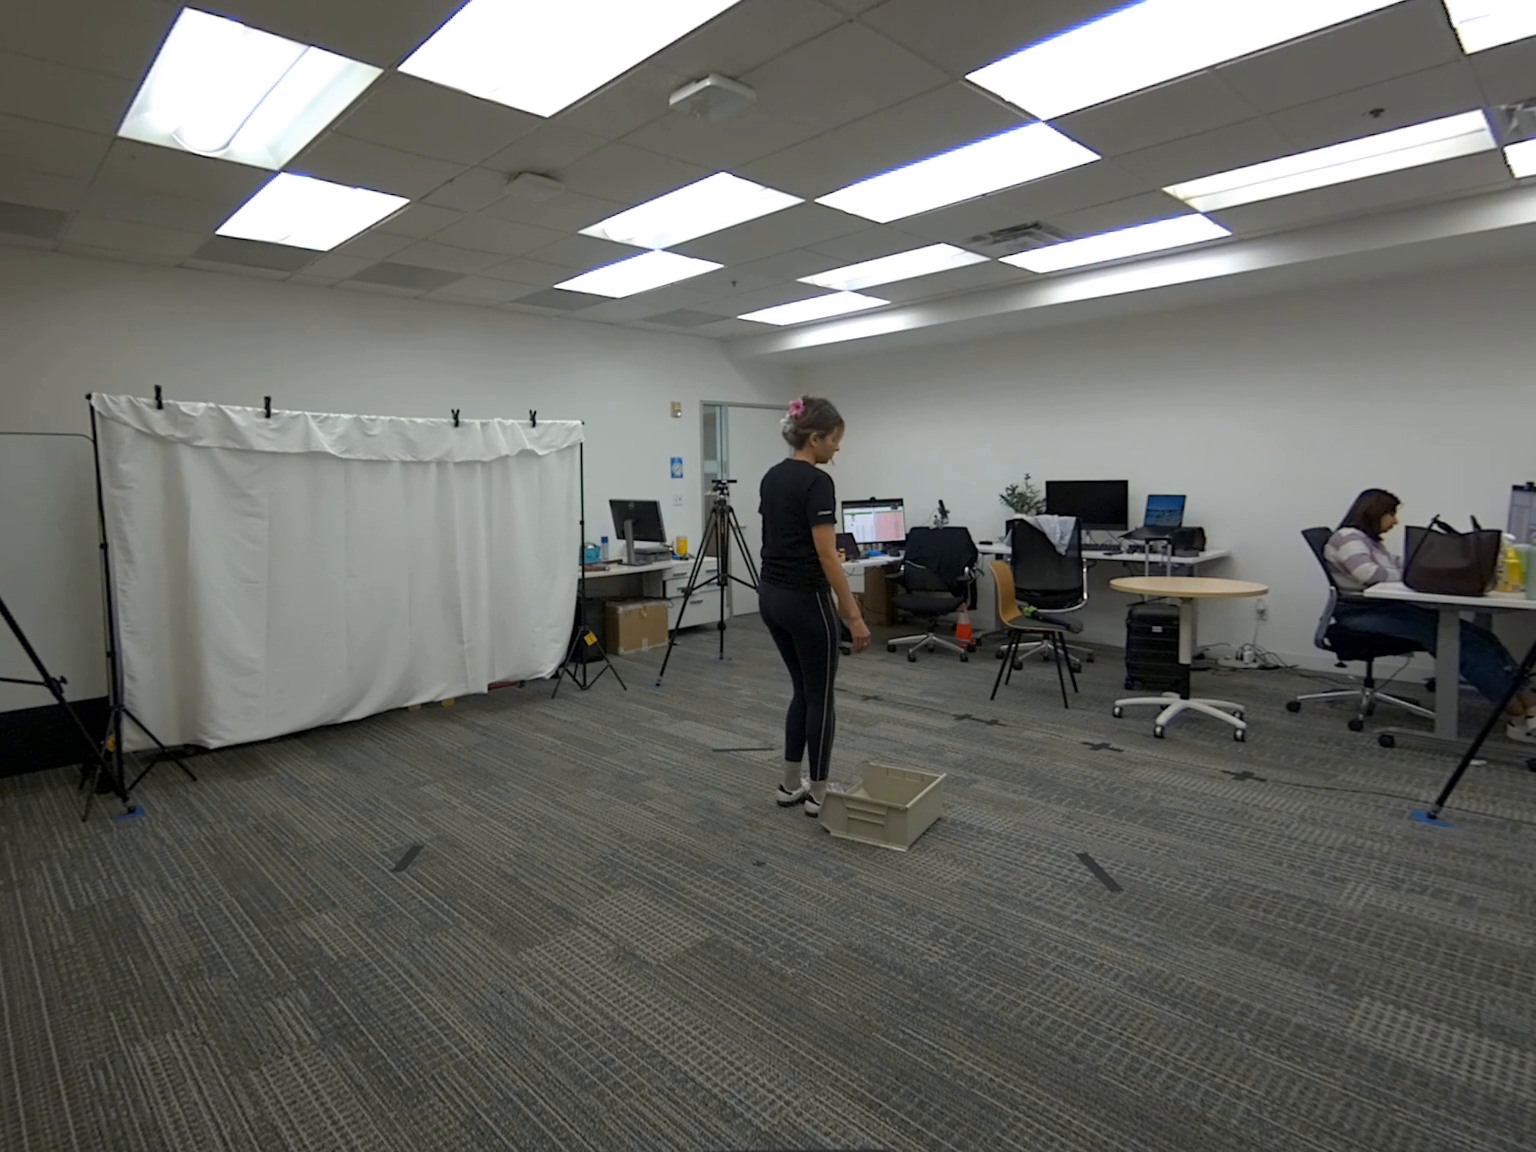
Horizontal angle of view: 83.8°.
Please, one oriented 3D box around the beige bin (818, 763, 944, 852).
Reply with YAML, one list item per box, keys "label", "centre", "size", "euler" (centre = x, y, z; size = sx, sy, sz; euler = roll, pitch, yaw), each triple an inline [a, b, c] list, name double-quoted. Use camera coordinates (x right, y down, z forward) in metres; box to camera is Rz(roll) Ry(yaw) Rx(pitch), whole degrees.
- label: "beige bin"
  centre: [0.468, 0.914, 3.437]
  size: [0.388, 0.188, 0.413]
  euler: [4, 7, 32]
